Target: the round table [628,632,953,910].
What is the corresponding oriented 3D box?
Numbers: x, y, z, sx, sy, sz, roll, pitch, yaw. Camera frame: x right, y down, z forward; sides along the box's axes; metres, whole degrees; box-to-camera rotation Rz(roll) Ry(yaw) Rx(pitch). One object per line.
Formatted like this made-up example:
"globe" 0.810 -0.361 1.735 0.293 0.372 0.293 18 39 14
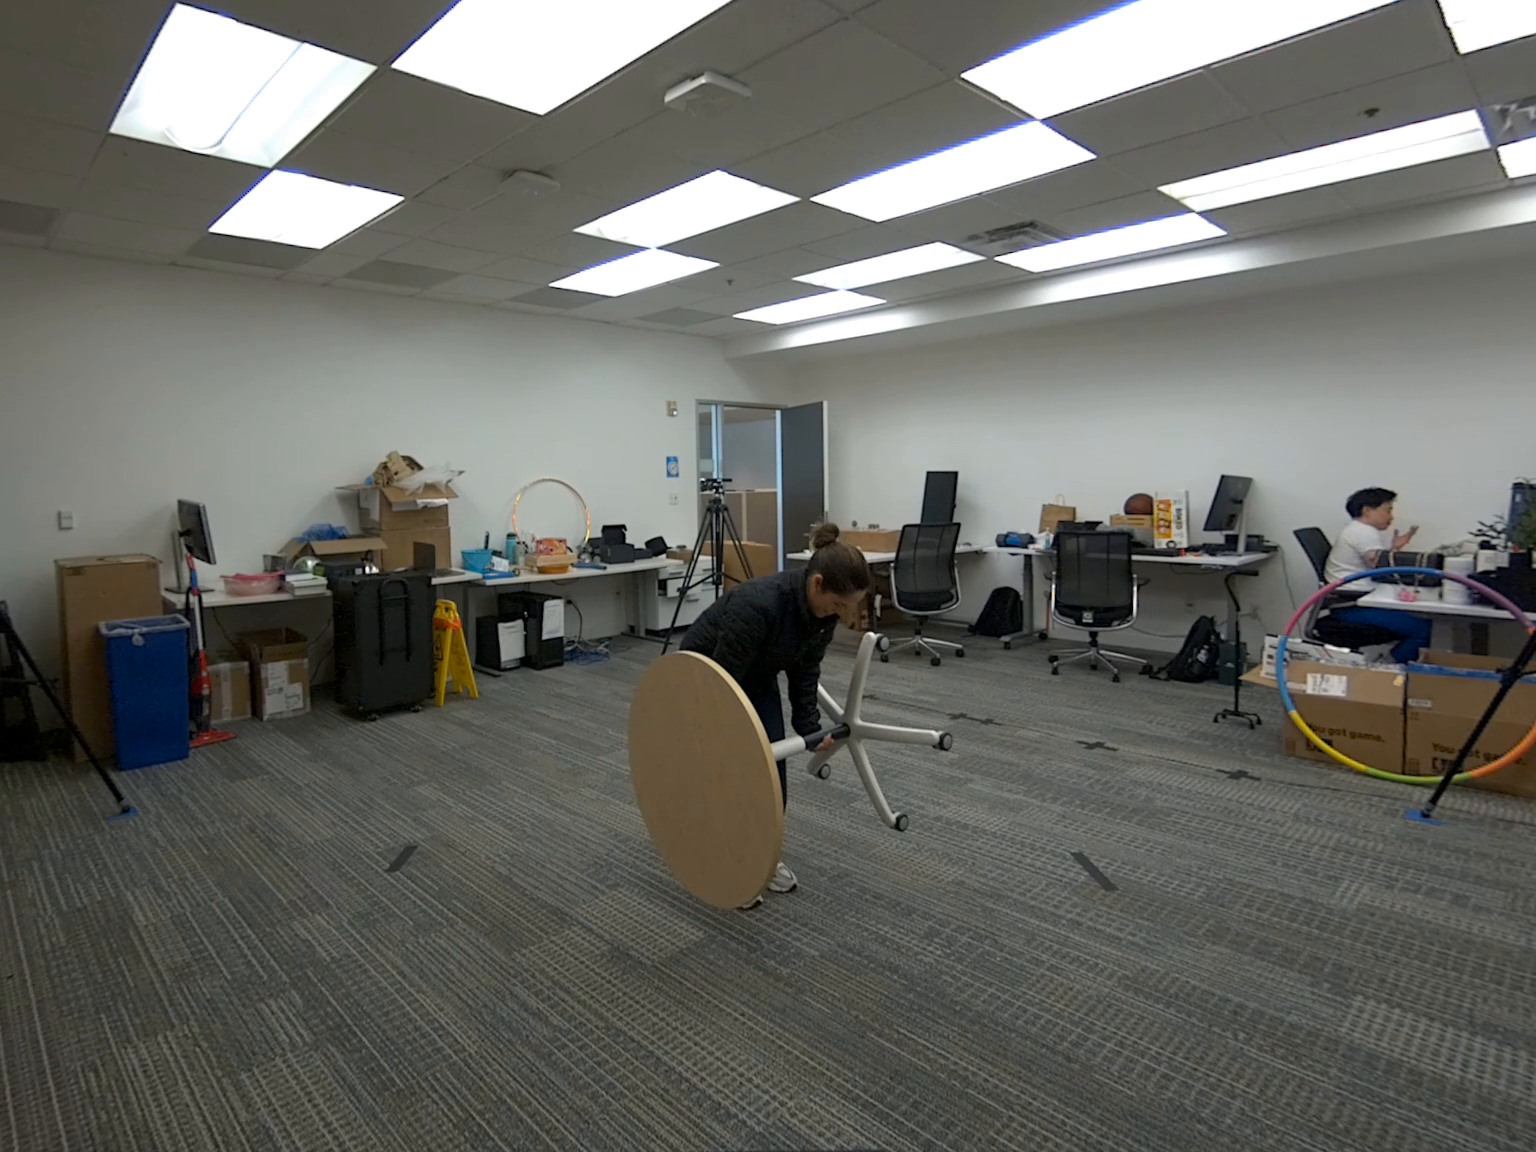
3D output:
"round table" 0.069 0.572 2.858 0.766 0.782 0.809 -6 7 -40
